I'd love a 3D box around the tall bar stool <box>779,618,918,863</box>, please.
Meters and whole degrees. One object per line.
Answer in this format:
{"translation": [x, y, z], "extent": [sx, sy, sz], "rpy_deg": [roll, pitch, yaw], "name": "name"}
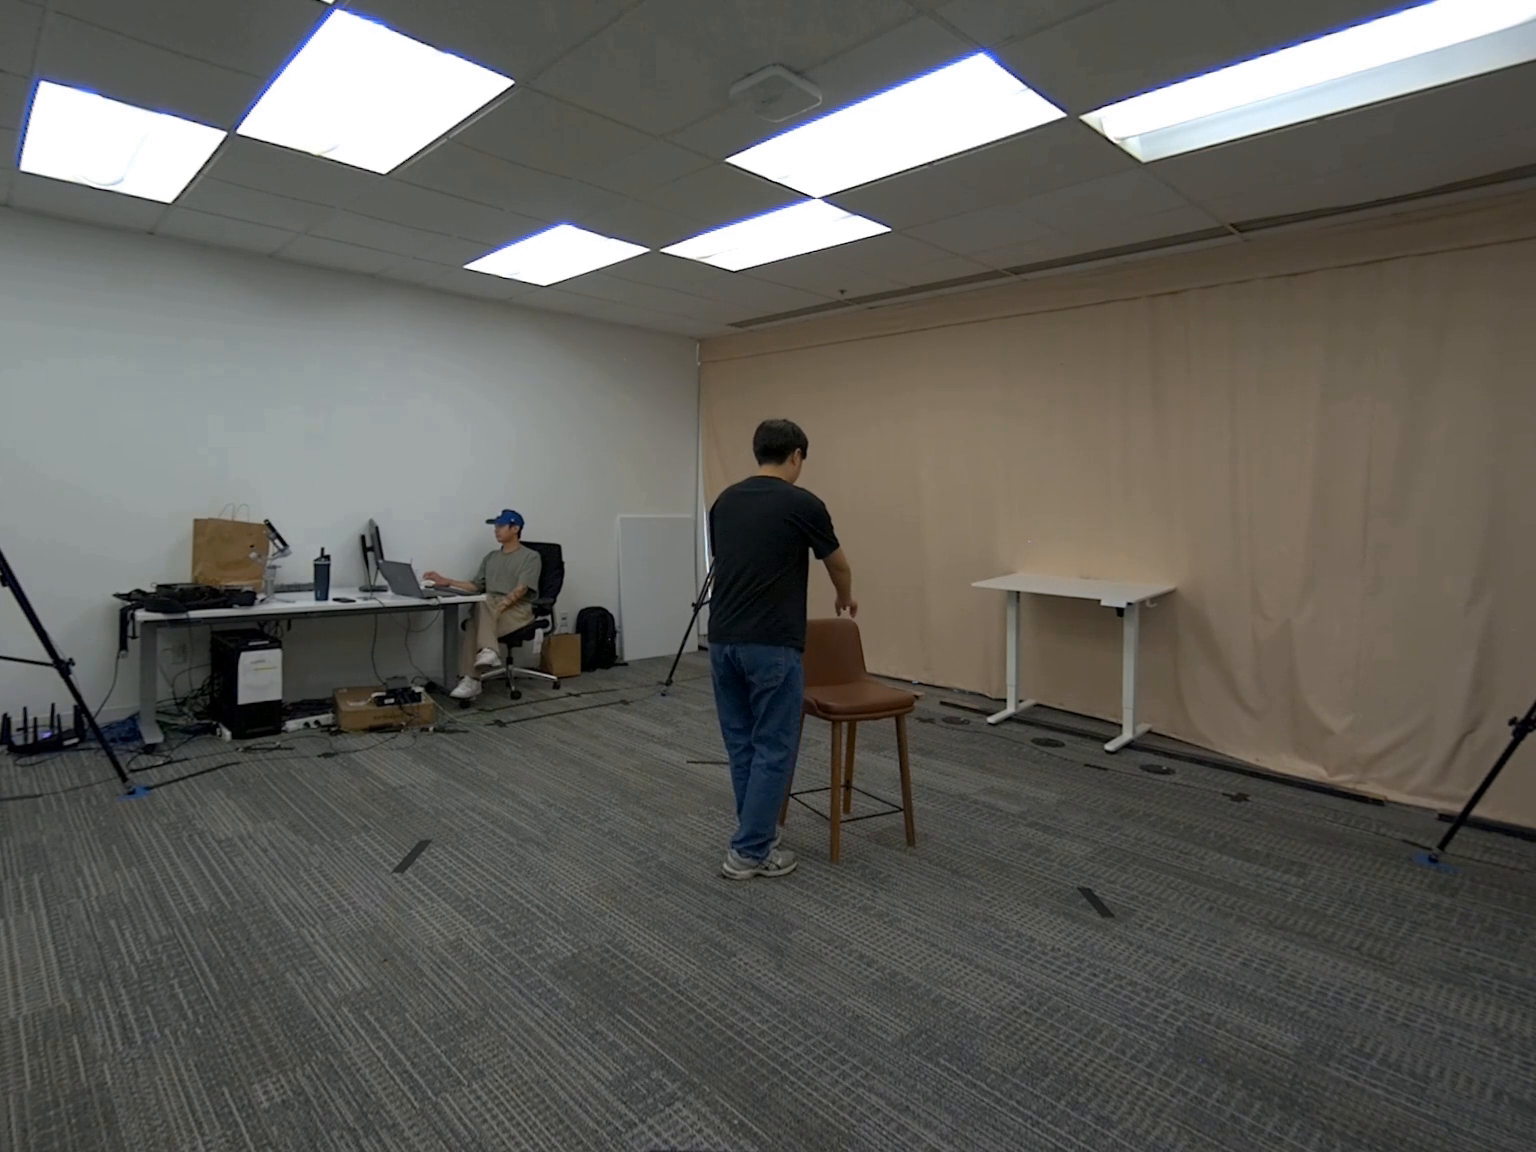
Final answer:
{"translation": [0.320, 0.648, 3.498], "extent": [0.447, 0.889, 0.477], "rpy_deg": [0, 1, -29], "name": "tall bar stool"}
